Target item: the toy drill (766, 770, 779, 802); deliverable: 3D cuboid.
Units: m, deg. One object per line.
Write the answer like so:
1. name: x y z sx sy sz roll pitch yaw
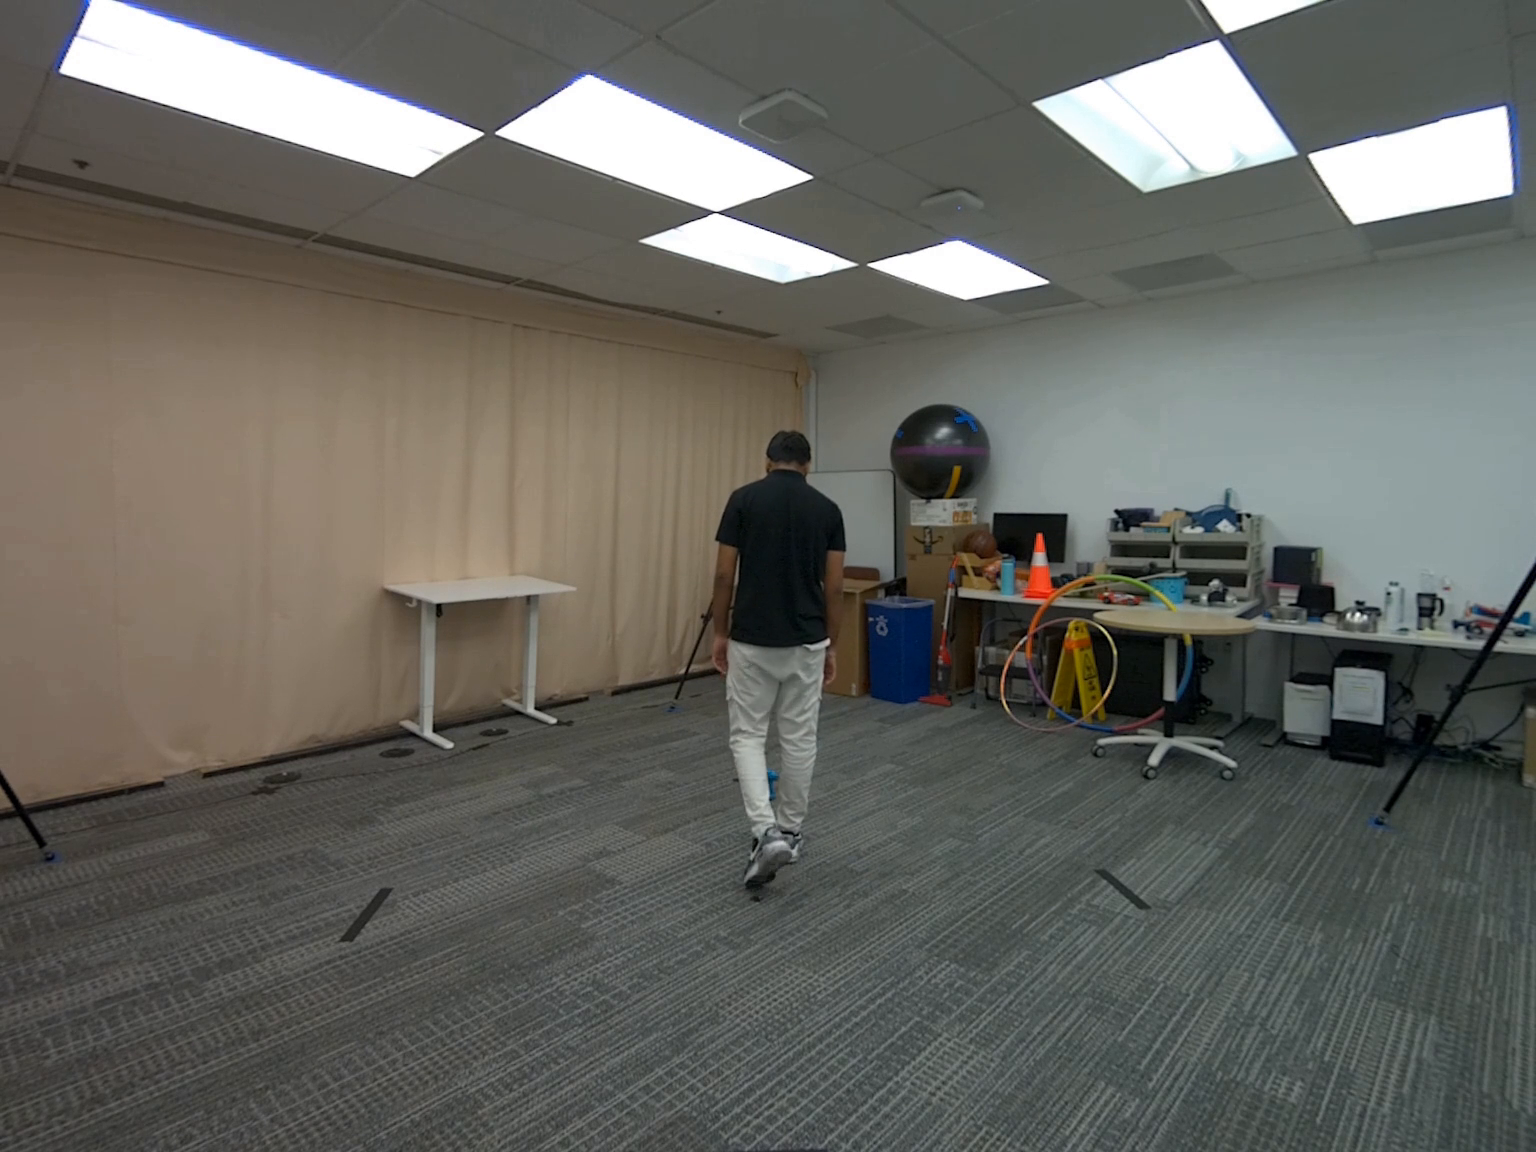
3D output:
1. toy drill: -0.038 0.989 4.013 0.171 0.145 0.061 0 4 7
